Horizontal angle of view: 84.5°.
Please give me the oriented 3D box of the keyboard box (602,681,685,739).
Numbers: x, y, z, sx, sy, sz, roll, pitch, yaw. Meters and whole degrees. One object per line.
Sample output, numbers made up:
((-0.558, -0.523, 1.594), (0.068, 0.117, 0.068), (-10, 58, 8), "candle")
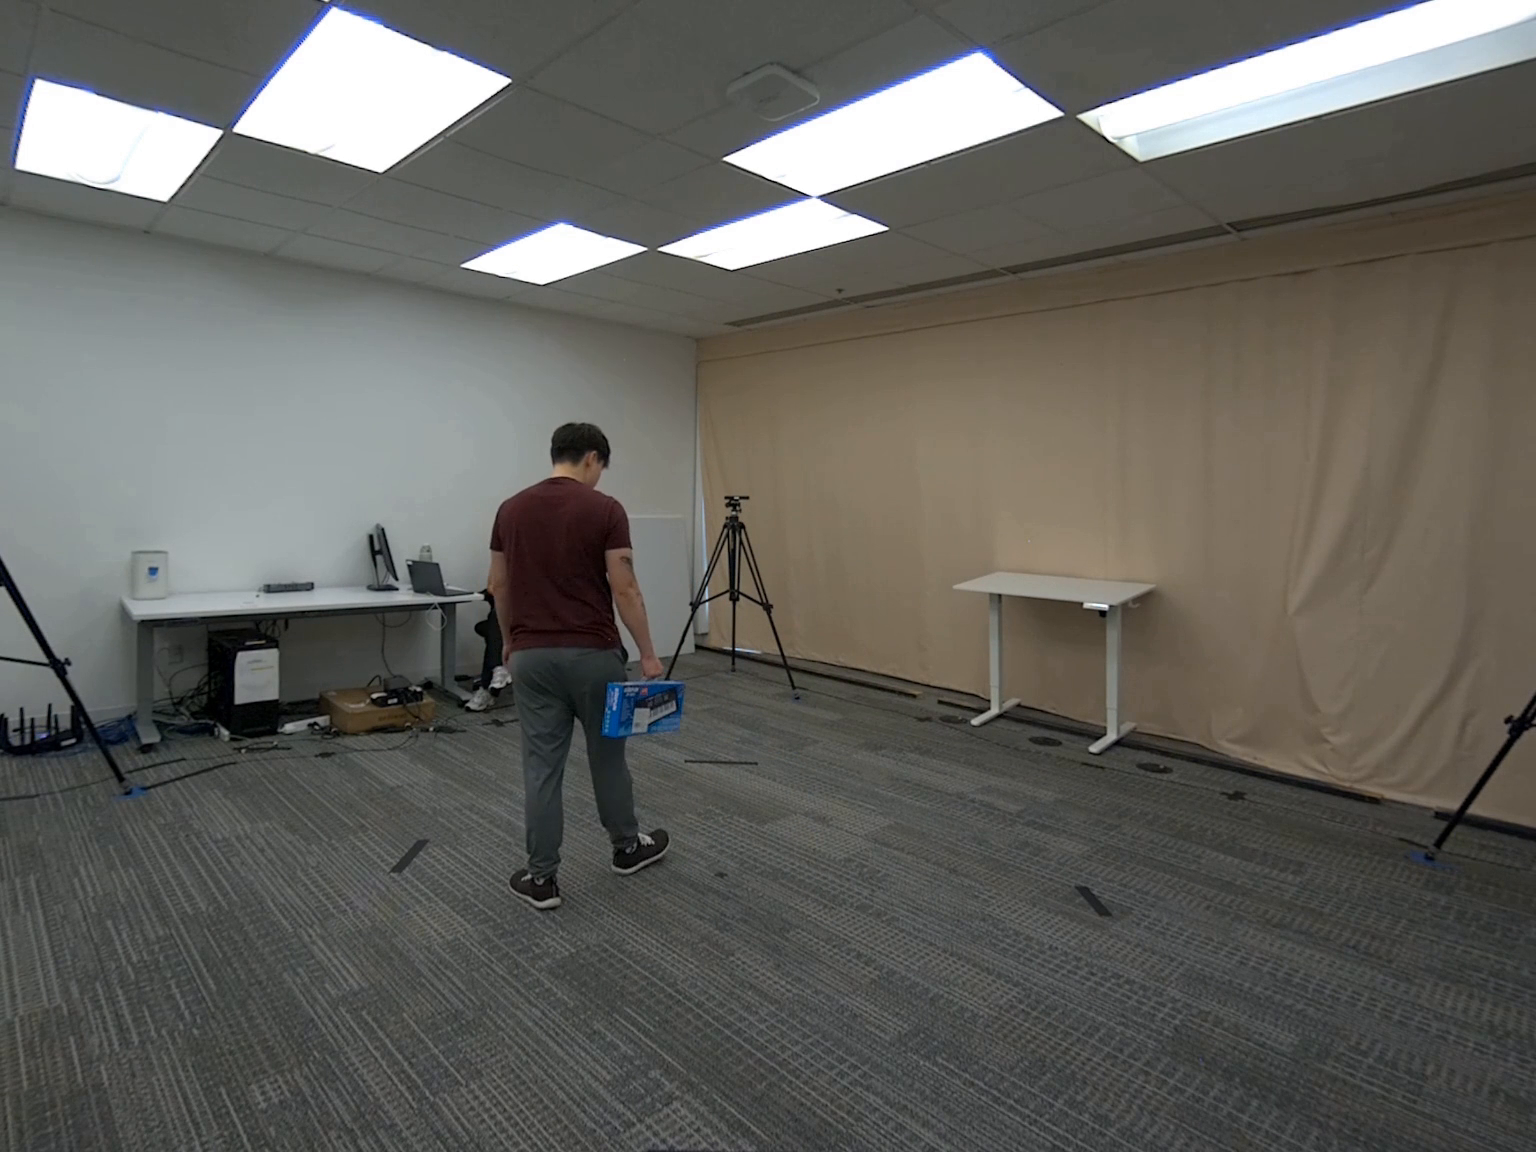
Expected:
((-0.428, 0.461, 2.933), (0.060, 0.176, 0.427), (5, -4, 22), "keyboard box")
